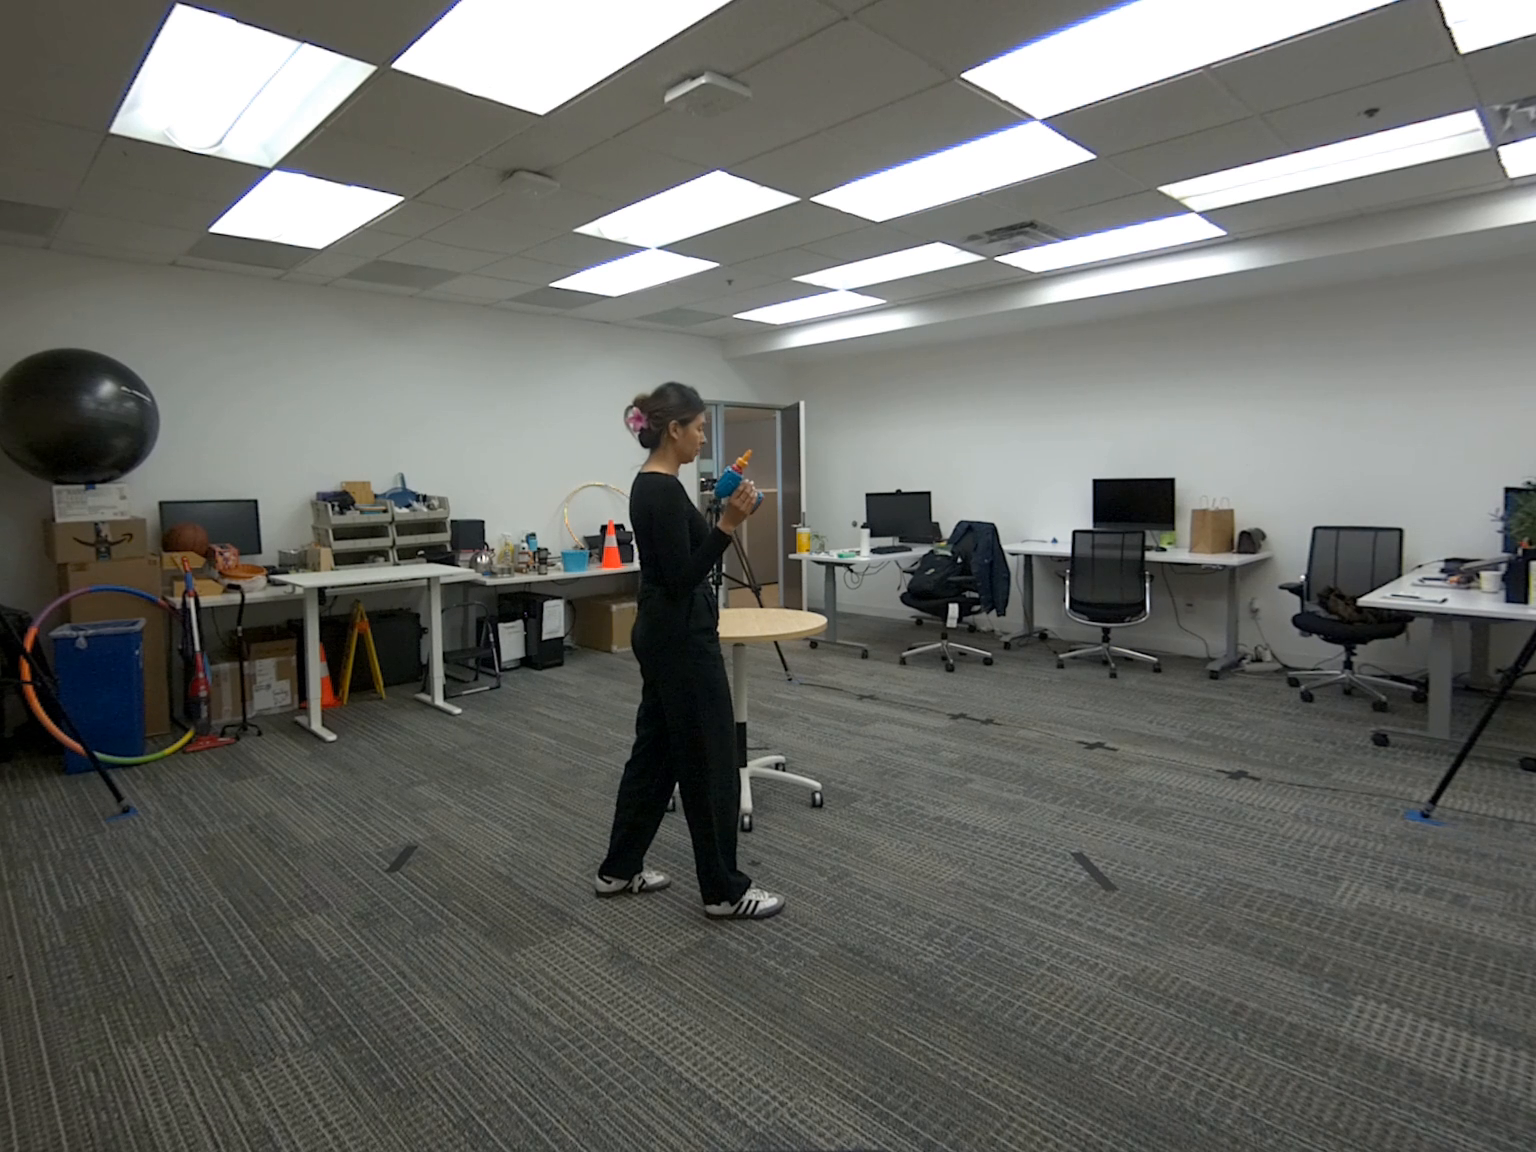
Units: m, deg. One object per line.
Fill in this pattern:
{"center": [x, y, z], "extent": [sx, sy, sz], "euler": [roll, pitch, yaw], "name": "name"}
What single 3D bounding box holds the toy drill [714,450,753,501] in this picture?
{"center": [-0.067, -0.281, 2.498], "extent": [0.143, 0.169, 0.062], "euler": [31, 7, -16], "name": "toy drill"}
